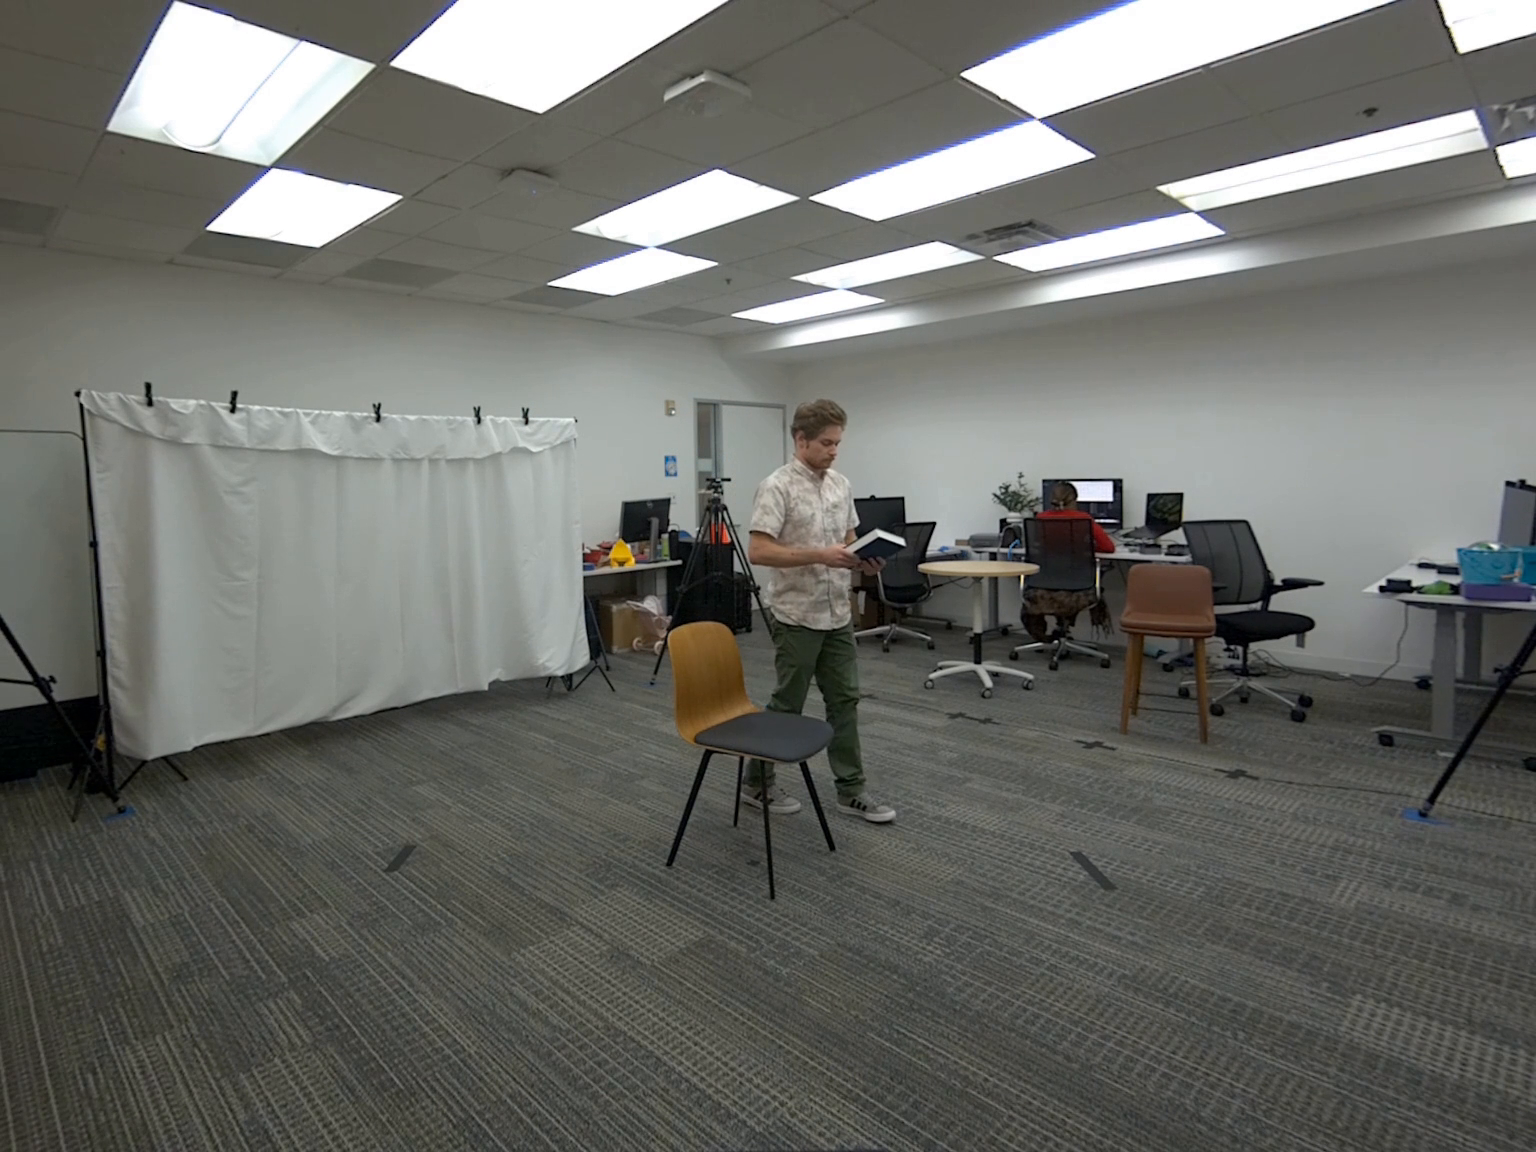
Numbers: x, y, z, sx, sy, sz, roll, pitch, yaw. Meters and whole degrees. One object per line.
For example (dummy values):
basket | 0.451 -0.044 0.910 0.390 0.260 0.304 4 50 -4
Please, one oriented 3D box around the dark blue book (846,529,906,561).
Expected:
dark blue book | 0.392 -0.098 3.316 0.158 0.046 0.247 16 -34 -38
